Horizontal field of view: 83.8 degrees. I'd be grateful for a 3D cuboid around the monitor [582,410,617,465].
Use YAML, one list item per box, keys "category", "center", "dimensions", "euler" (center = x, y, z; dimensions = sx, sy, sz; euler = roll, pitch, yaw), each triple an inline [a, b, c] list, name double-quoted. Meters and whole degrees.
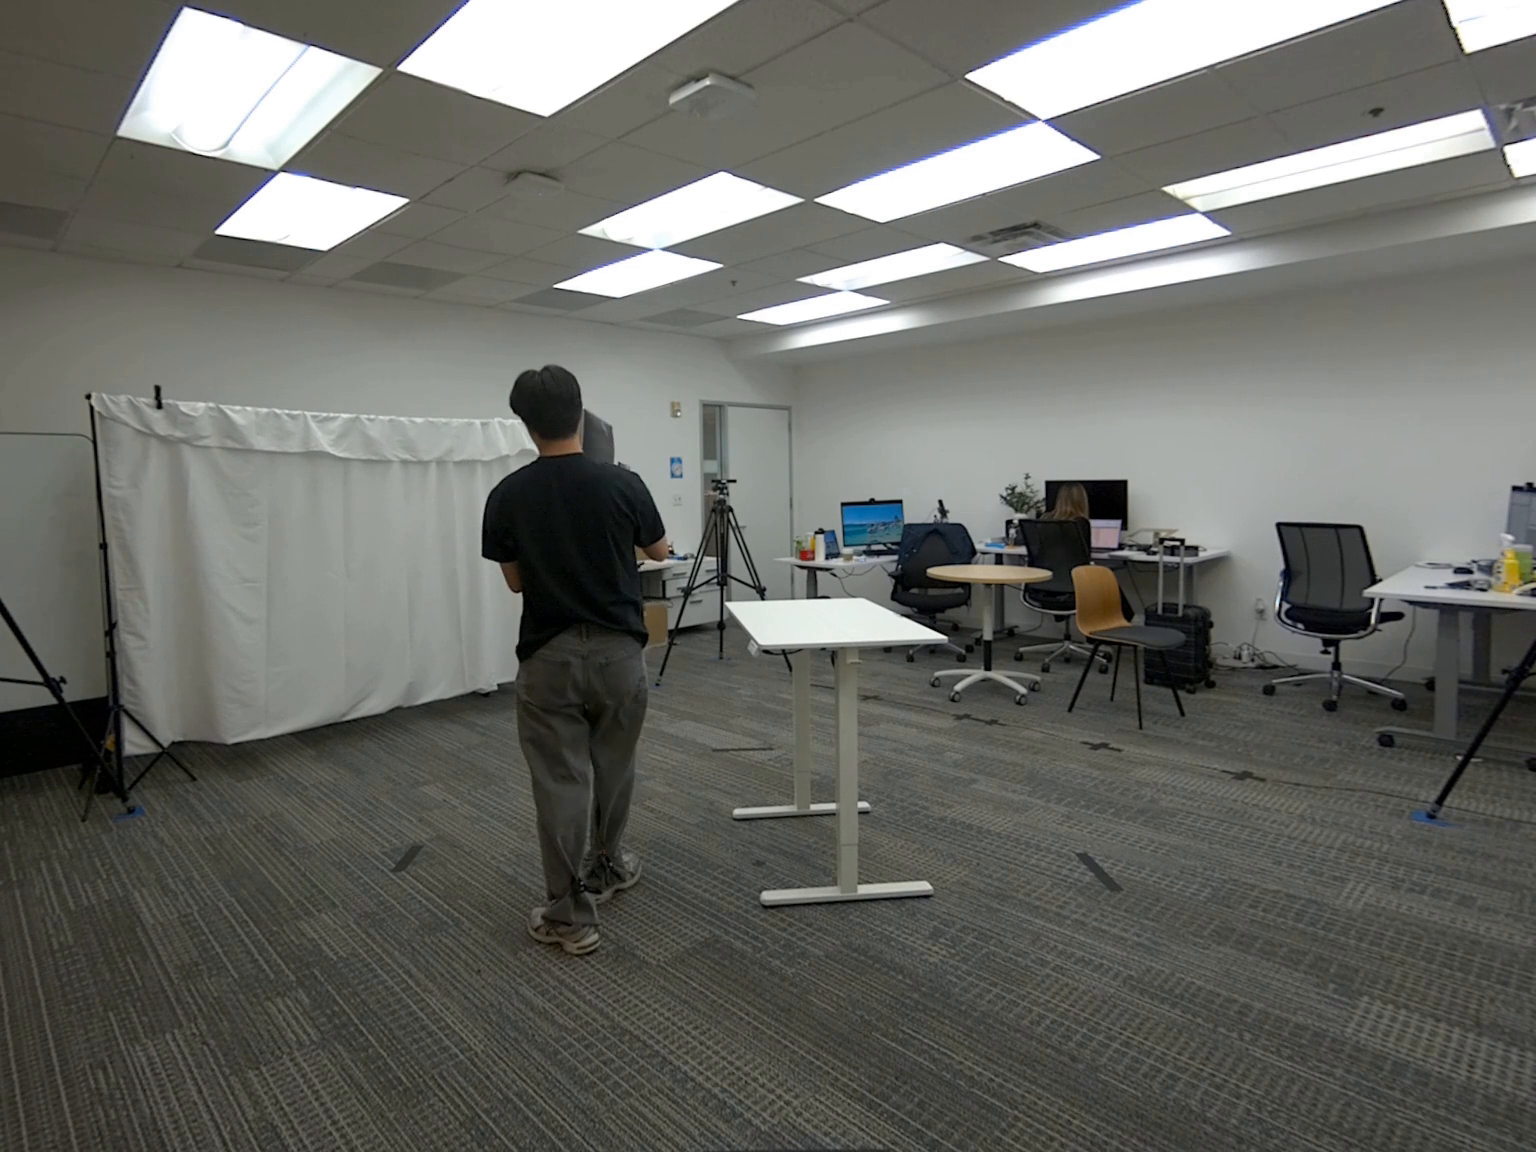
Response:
- category: "monitor"
  center: [-0.569, -0.280, 3.000]
  dimensions: [0.223, 0.565, 0.561]
  euler: [-10, 2, 3]
